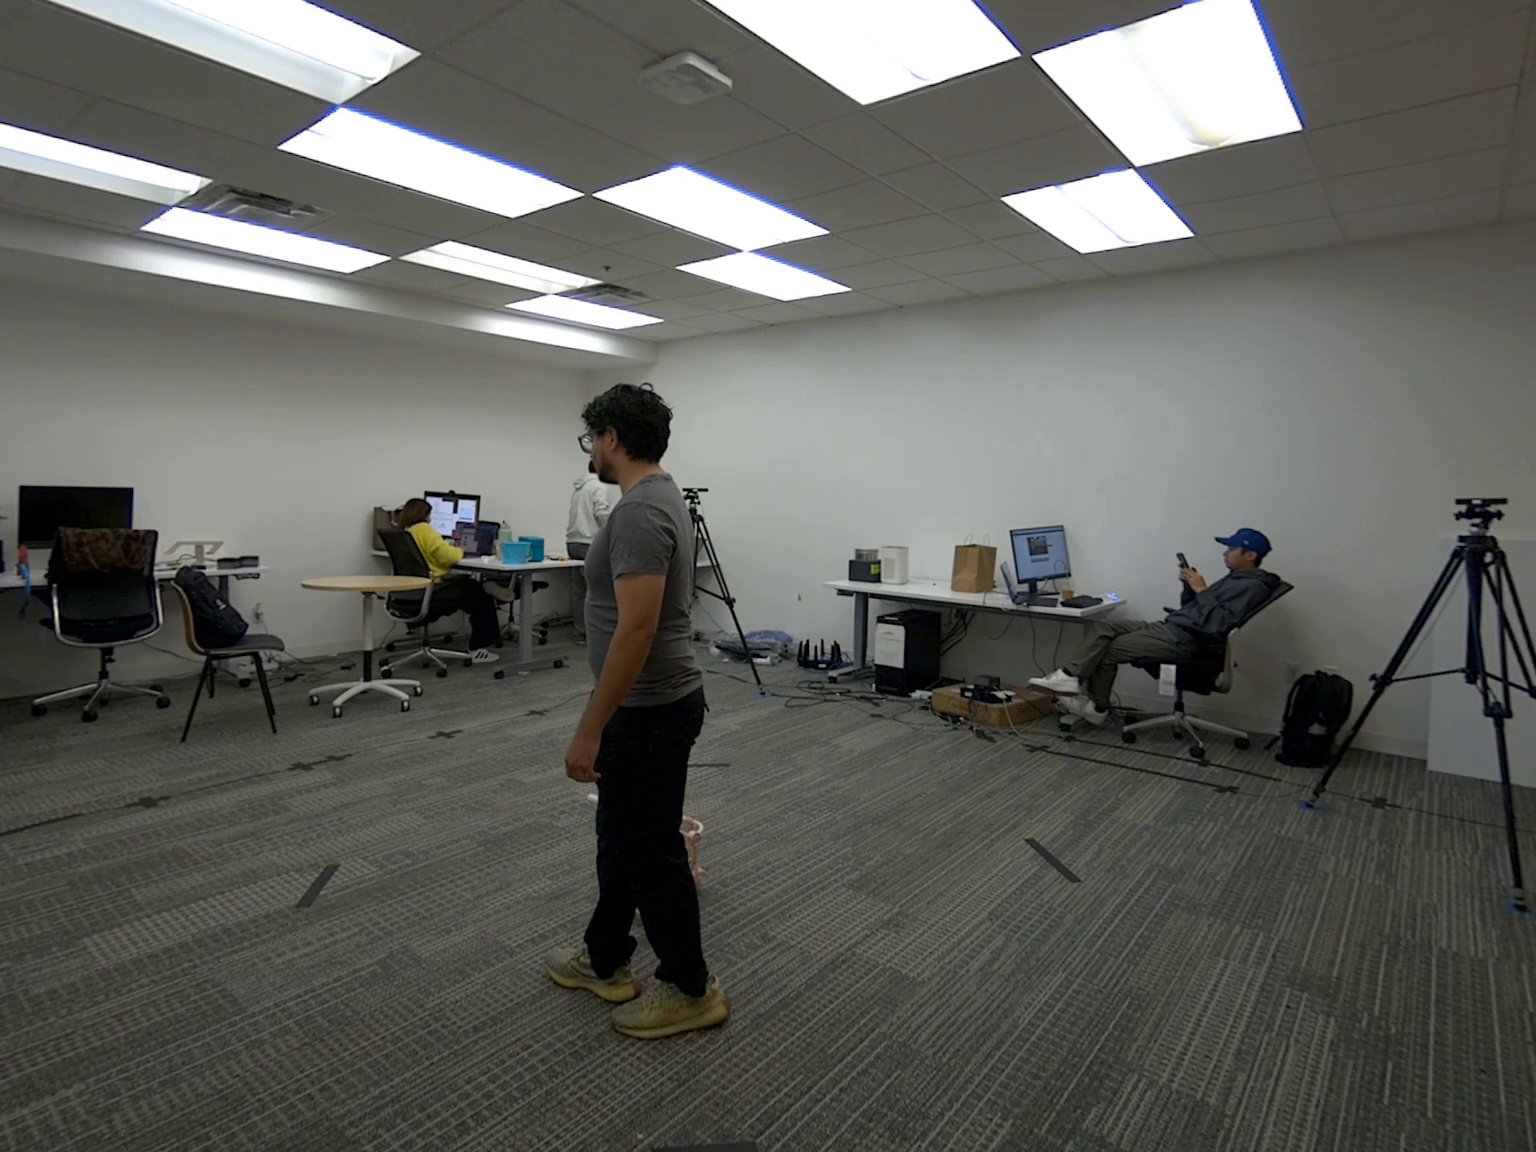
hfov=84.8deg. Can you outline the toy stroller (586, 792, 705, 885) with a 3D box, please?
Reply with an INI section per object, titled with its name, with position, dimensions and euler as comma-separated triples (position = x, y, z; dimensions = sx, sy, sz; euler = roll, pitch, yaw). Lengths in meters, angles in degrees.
[toy stroller]
position = -0.374, 0.870, 2.784
dimensions = 0.291, 0.526, 0.335
euler = 5, 22, 43
